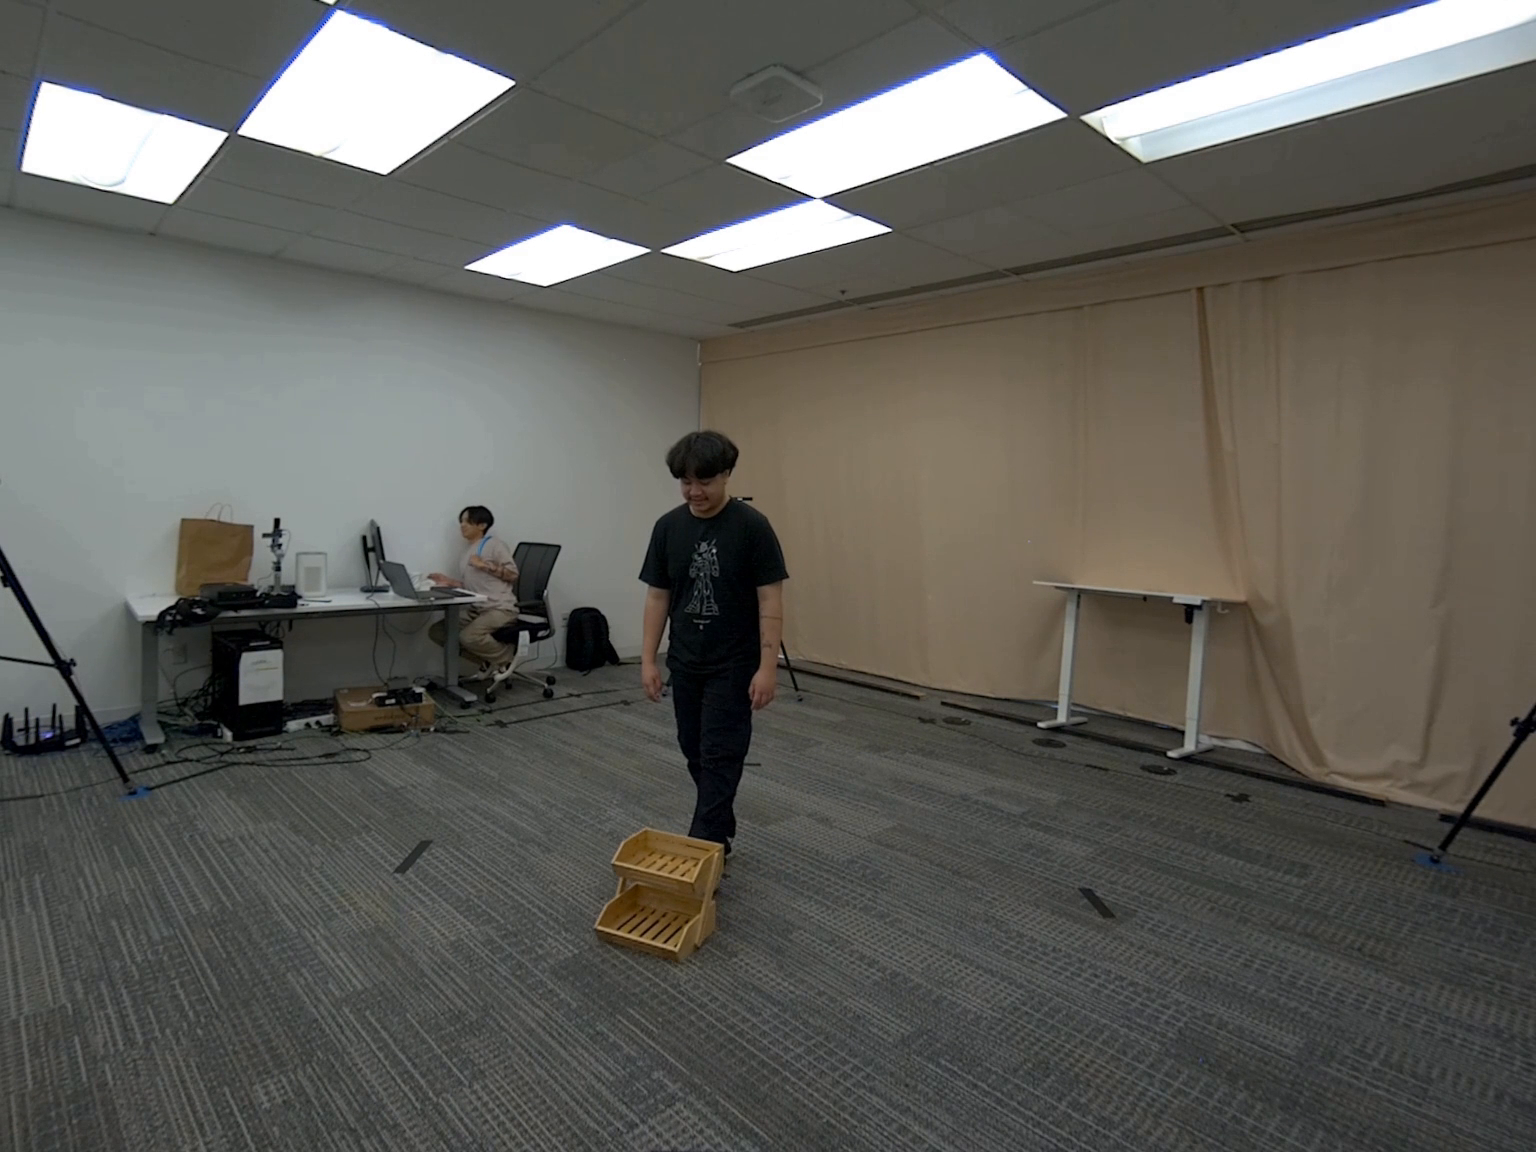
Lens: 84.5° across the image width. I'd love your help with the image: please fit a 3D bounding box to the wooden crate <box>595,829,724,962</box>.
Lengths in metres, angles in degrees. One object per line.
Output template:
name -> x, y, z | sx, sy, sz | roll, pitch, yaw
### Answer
wooden crate -> -0.353, 1.011, 2.683 | 0.330, 0.273, 0.297 | 3, 4, 24
